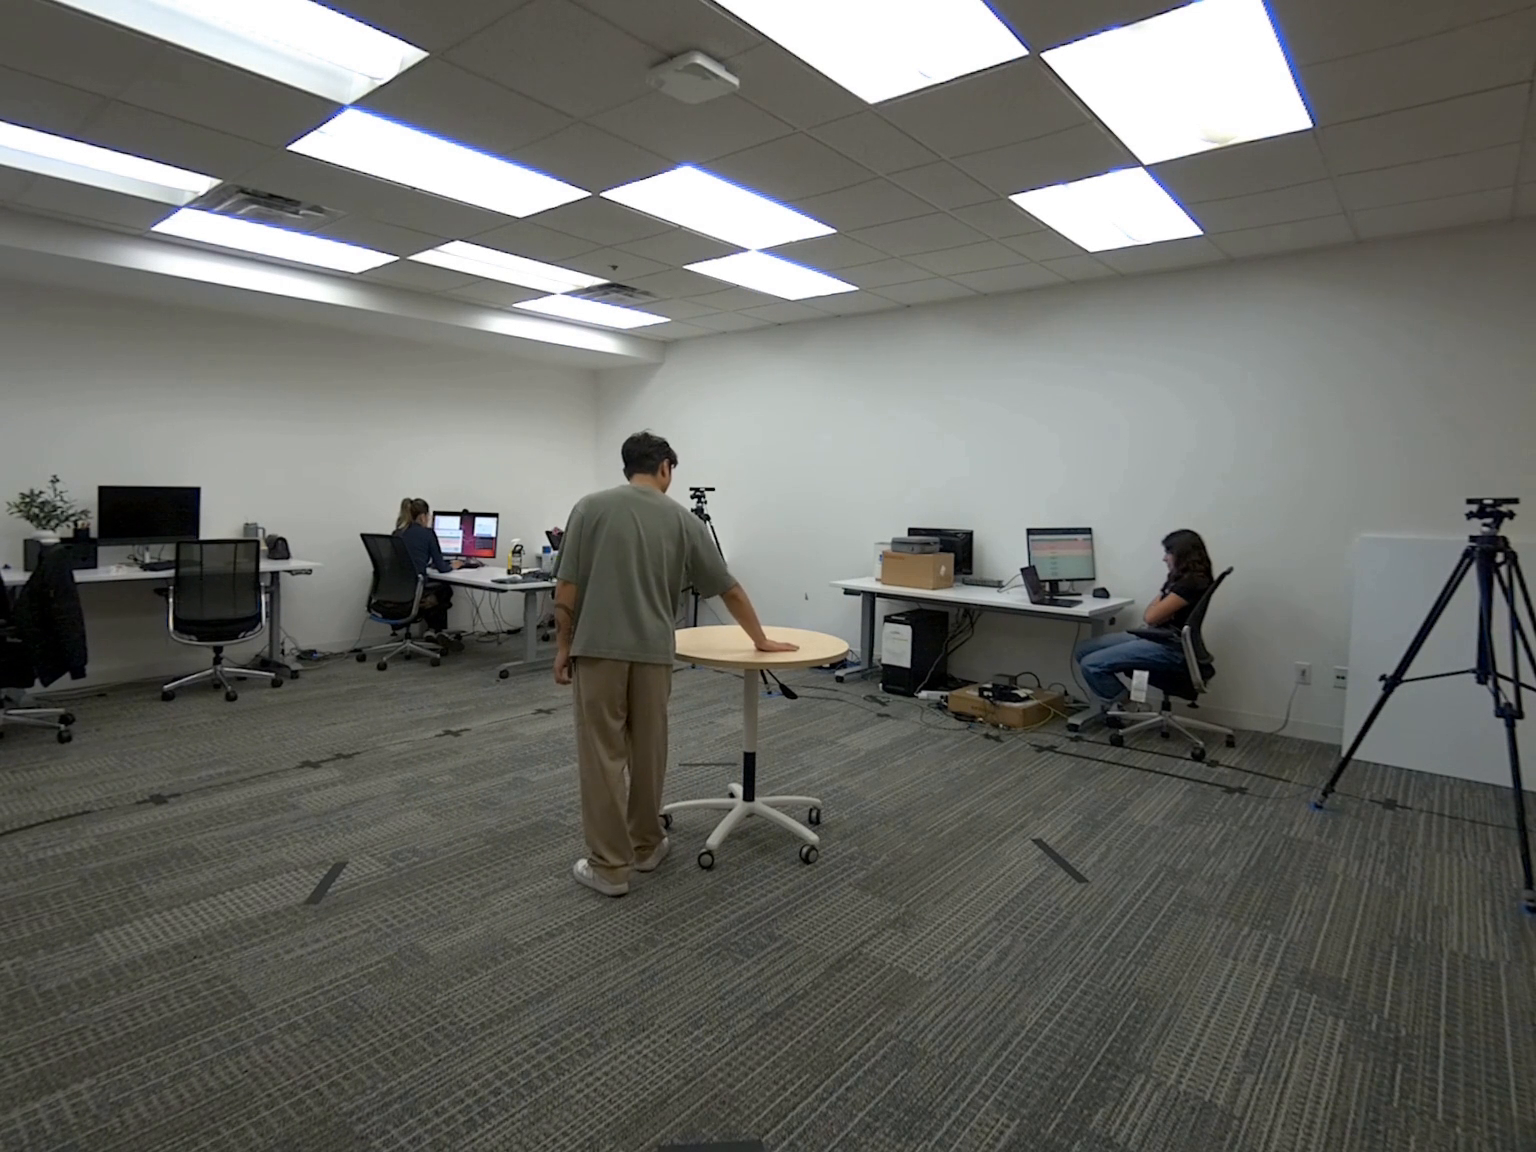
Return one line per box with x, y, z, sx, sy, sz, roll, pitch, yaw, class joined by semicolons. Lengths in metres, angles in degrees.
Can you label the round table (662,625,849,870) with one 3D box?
-0.081;0.651;3.415;0.763;0.791;0.768;1;4;-2;round table
